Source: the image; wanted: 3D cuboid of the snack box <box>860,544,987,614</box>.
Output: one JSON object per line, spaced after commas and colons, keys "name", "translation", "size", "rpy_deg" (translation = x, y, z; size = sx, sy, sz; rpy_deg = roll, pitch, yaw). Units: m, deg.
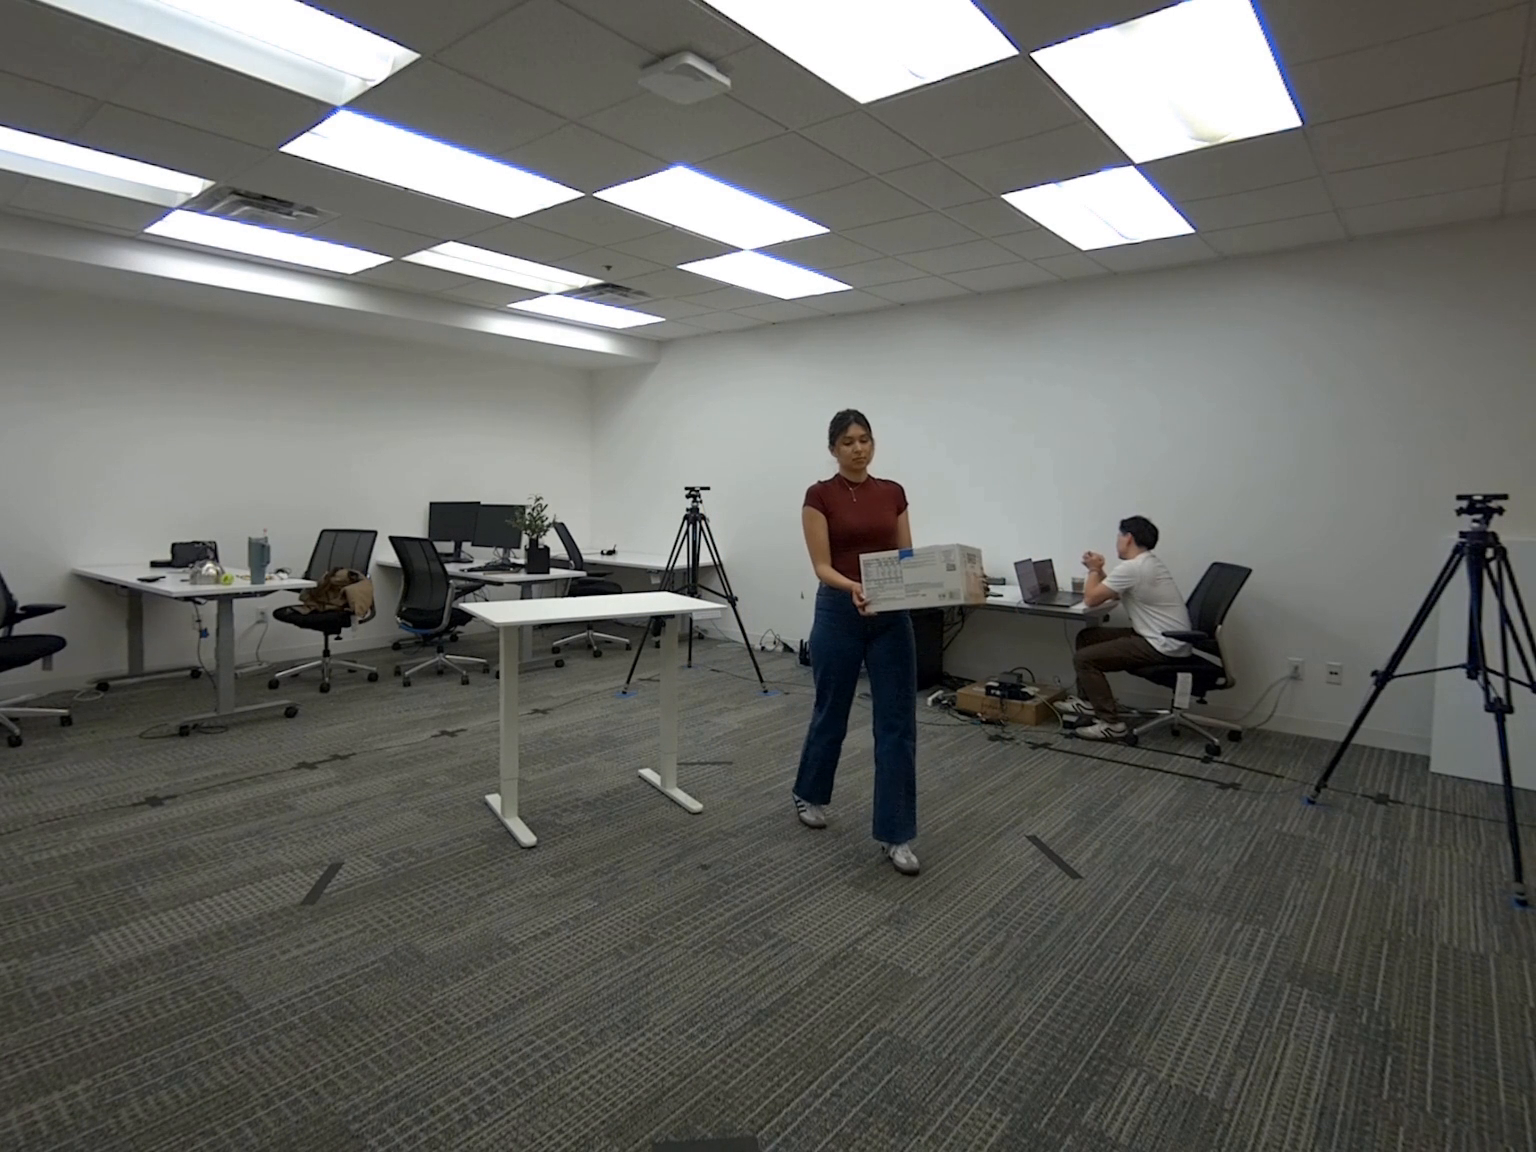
{"name": "snack box", "translation": [0.549, 0.010, 3.033], "size": [0.348, 0.207, 0.394], "rpy_deg": [-7, -4, 25]}
